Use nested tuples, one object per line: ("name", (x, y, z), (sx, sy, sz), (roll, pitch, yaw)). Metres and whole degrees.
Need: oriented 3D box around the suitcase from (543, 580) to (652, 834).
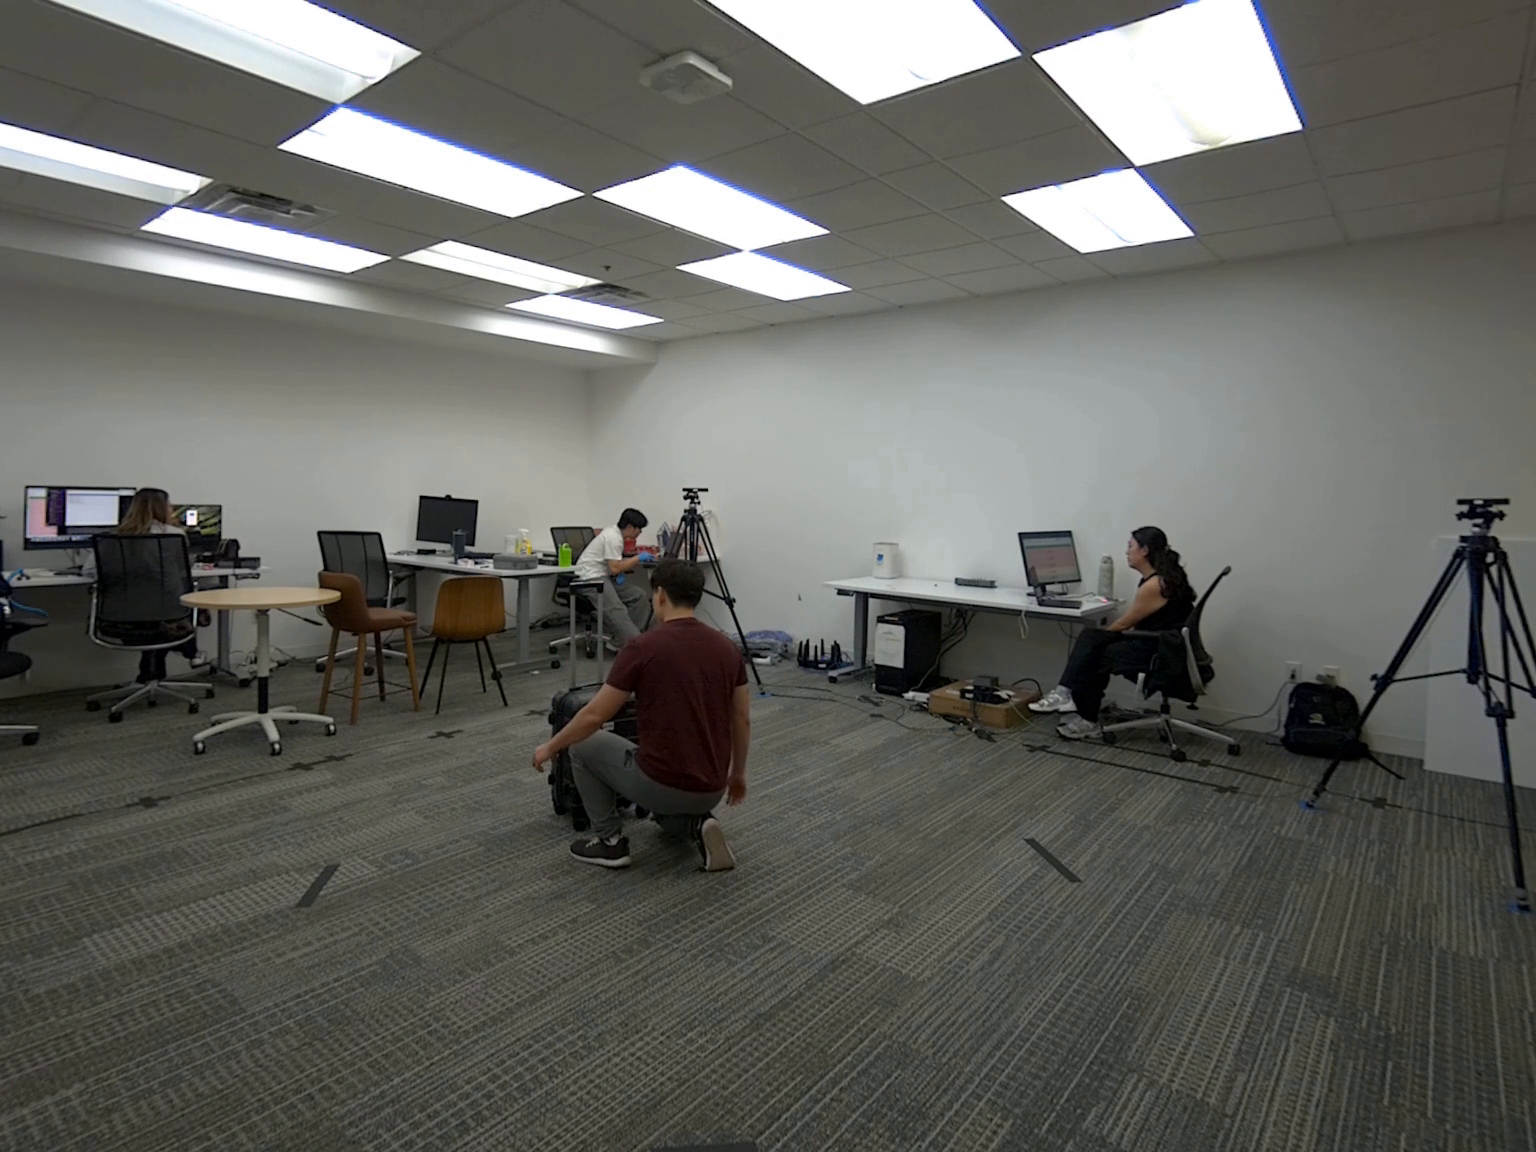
("suitcase", (-0.727, 0.530, 3.590), (0.373, 0.975, 0.265), (-2, 4, -34))
